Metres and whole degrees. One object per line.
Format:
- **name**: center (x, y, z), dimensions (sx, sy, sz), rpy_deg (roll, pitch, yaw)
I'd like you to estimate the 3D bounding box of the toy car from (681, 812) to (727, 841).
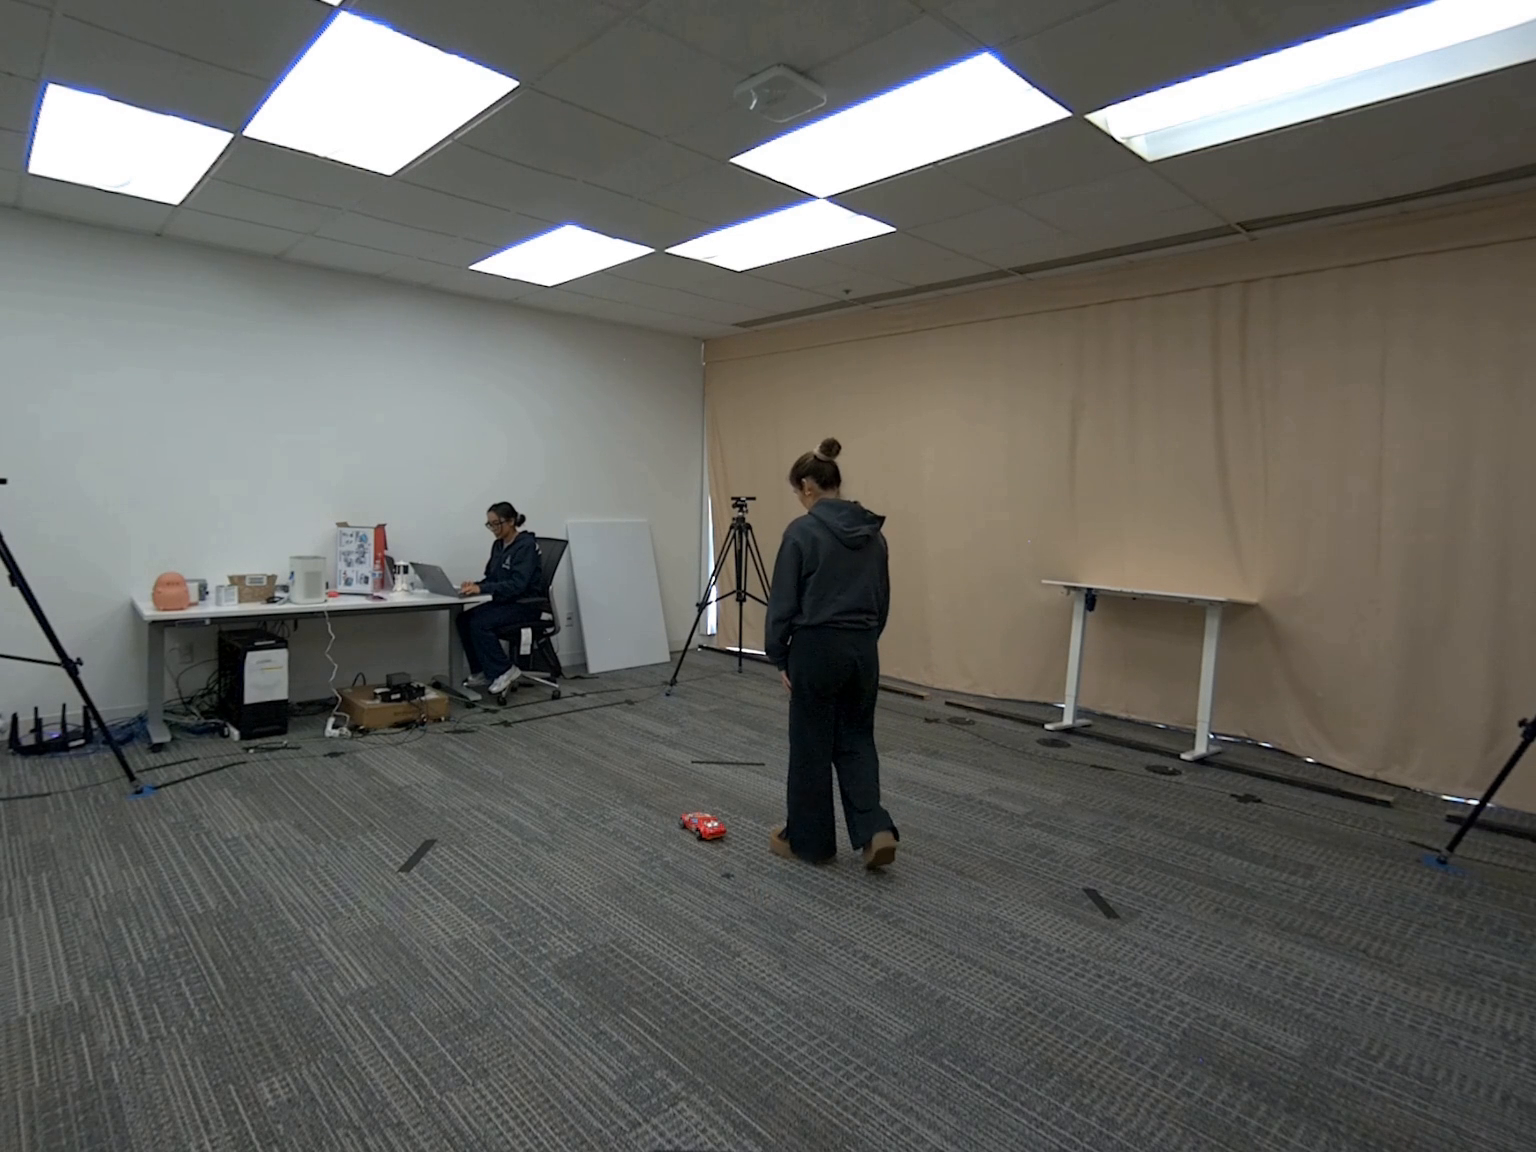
- **toy car**: center (-0.279, 1.035, 3.505), dimensions (0.127, 0.083, 0.259), rpy_deg (-1, -5, -33)
